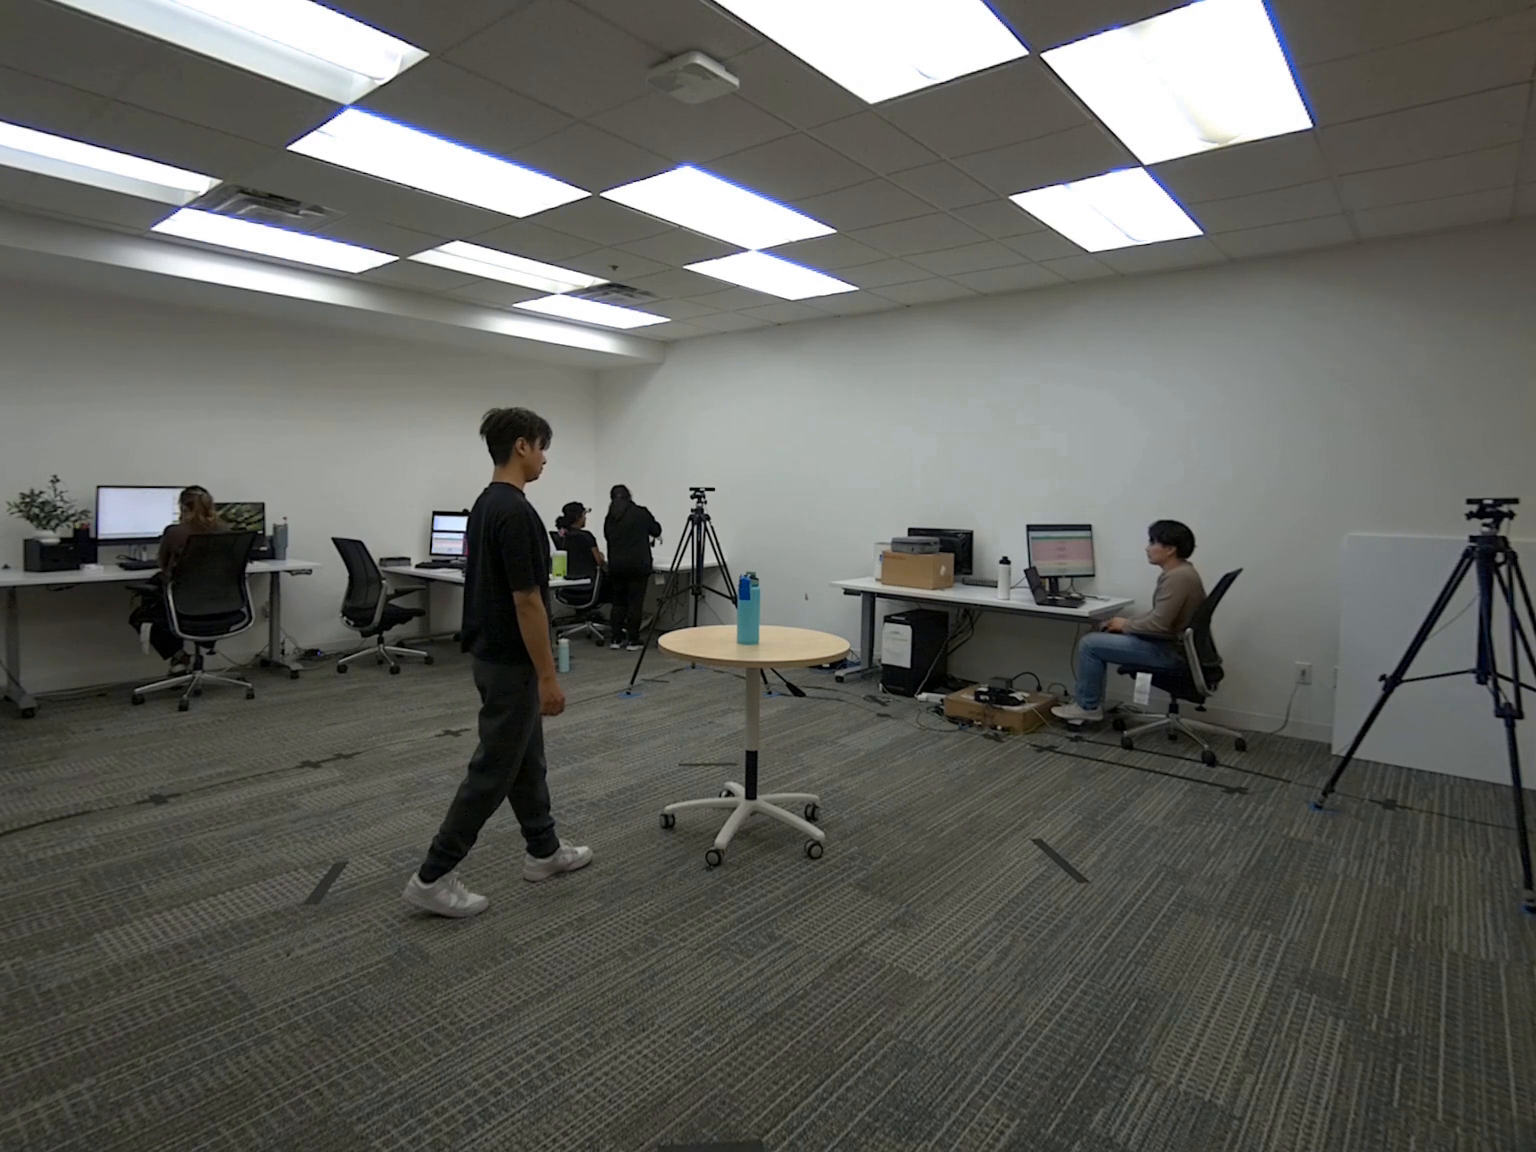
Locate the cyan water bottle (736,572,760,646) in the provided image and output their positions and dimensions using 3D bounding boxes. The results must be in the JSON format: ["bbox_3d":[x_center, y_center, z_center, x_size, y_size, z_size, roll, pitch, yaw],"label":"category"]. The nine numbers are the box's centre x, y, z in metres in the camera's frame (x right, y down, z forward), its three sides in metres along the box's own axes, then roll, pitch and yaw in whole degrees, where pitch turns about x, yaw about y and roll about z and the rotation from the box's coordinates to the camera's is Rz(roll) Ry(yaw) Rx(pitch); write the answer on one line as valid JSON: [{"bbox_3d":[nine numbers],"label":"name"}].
[{"bbox_3d":[-0.088,0.124,3.368,0.092,0.282,0.093,-1,5,-2],"label":"cyan water bottle"}]
